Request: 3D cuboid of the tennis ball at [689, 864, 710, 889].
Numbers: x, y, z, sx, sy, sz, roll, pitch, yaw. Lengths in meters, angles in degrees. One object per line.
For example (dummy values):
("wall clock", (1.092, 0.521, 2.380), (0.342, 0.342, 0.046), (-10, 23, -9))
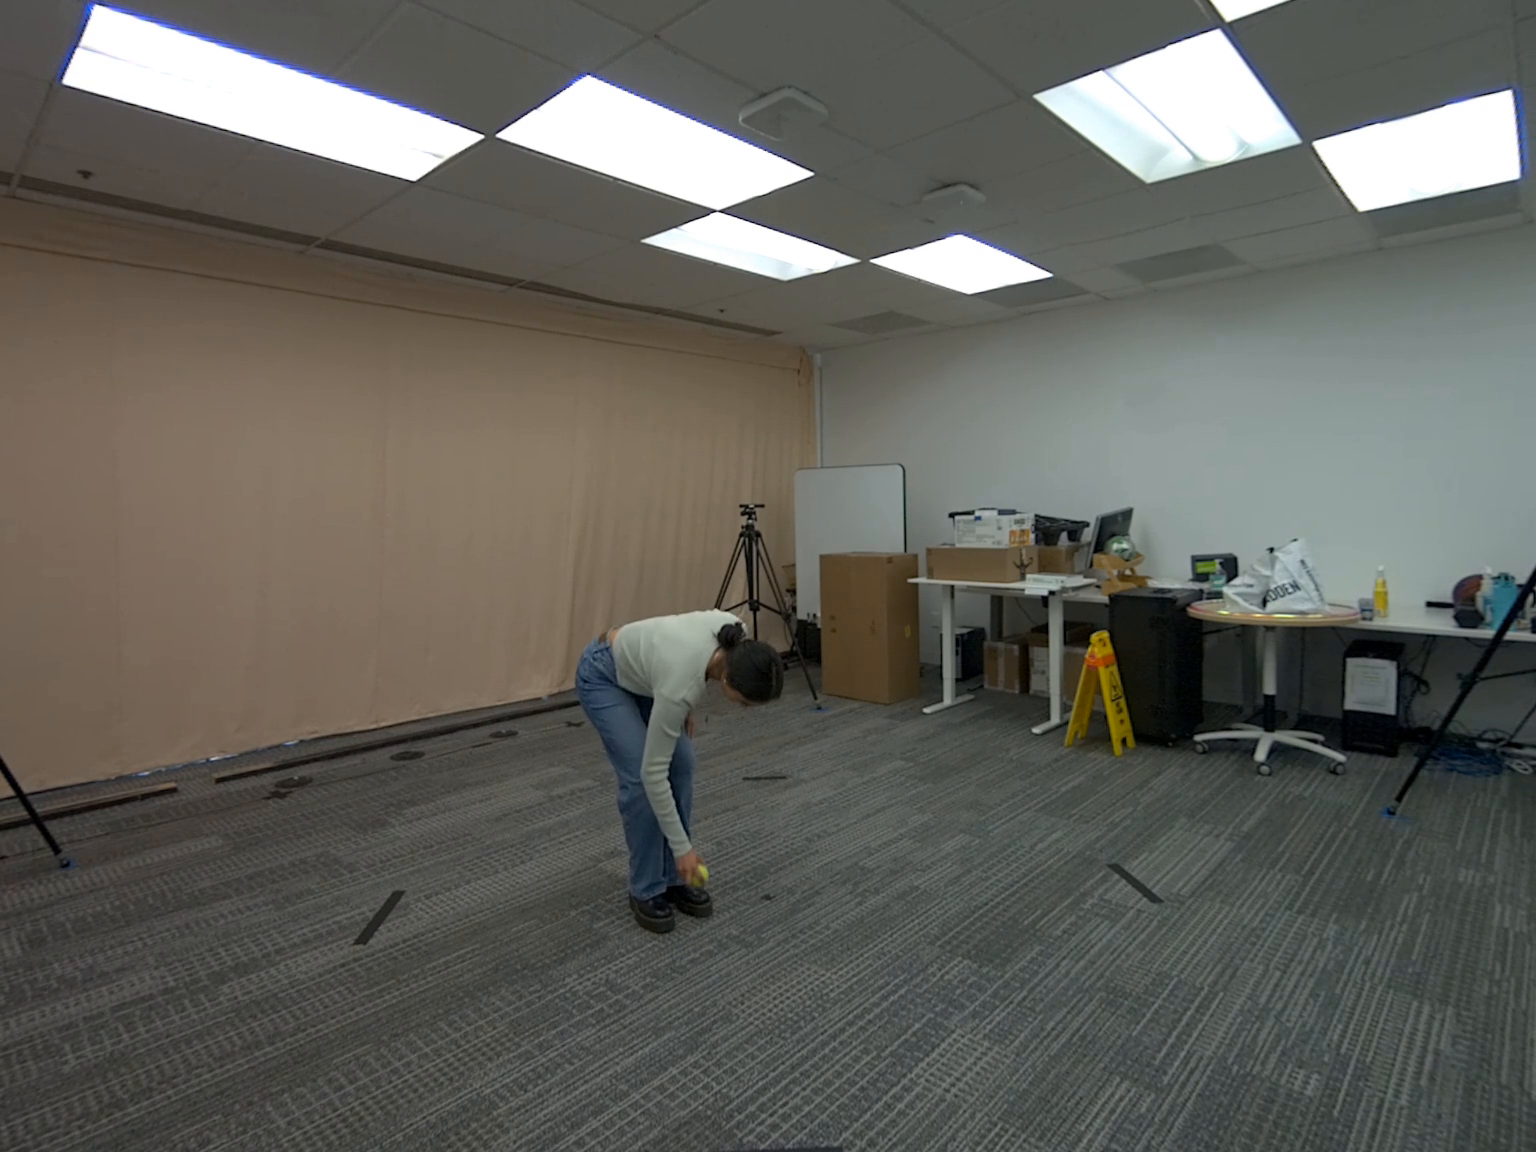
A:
("tennis ball", (-0.230, 0.958, 2.696), (0.066, 0.066, 0.067), (-1, 4, -2))
